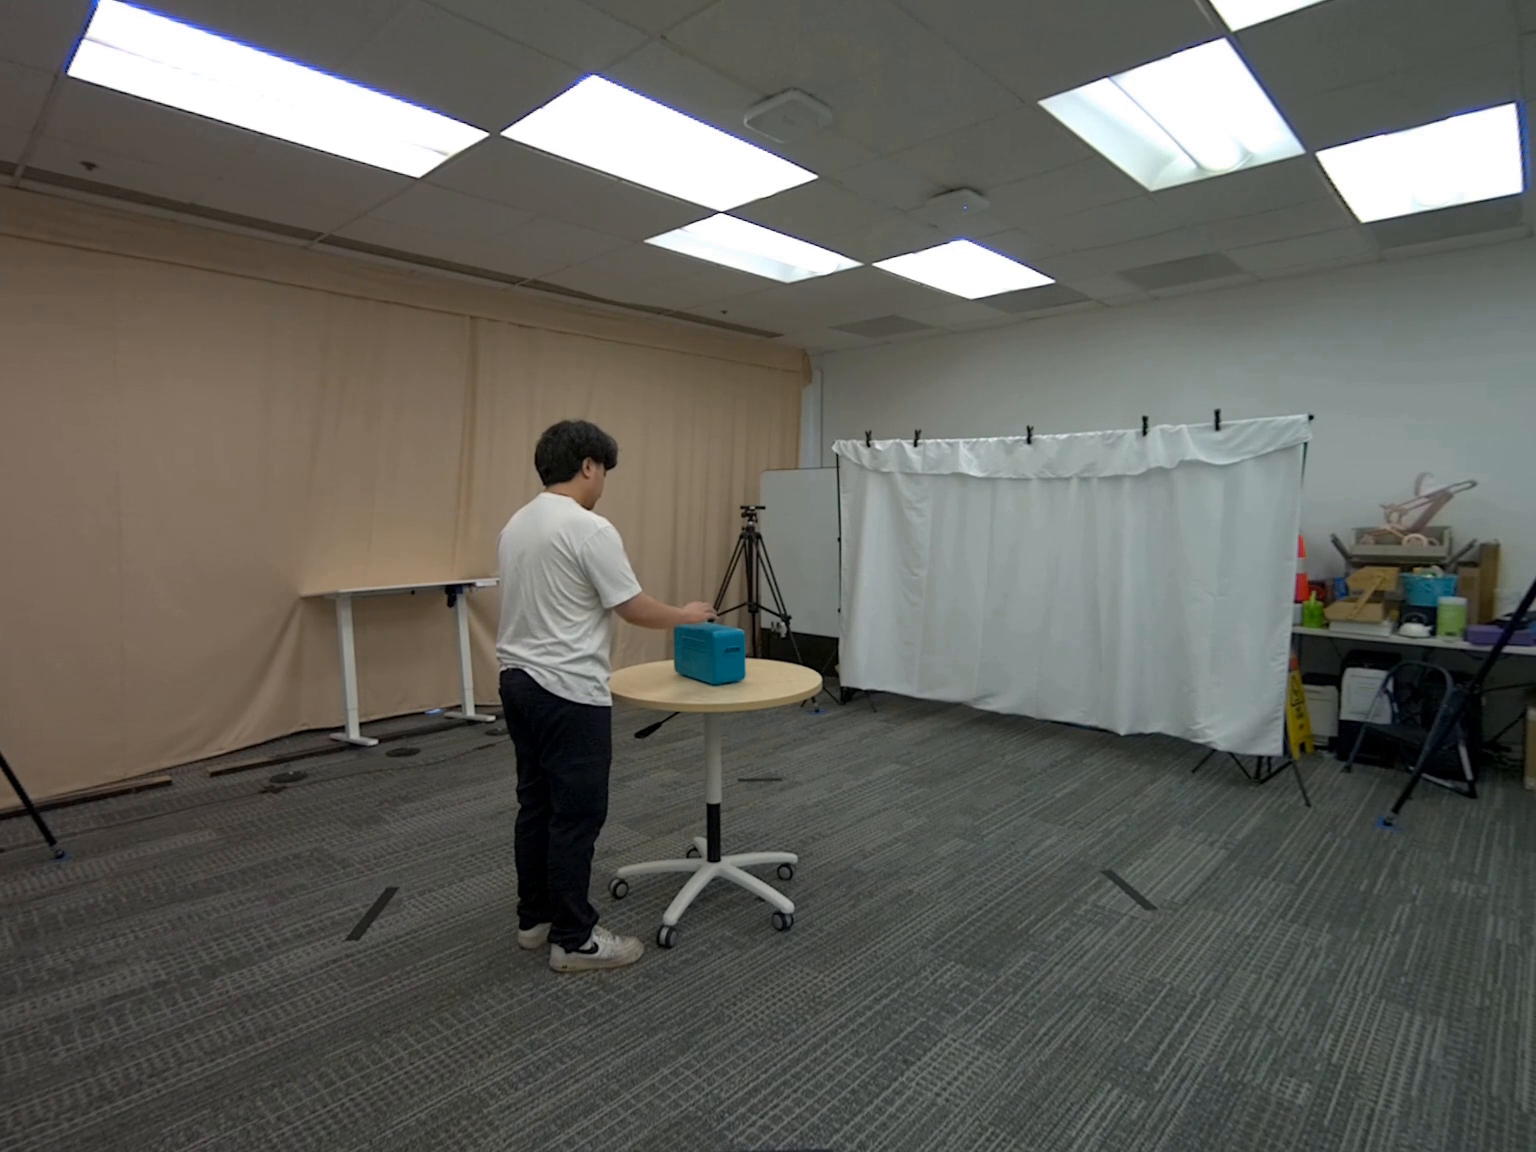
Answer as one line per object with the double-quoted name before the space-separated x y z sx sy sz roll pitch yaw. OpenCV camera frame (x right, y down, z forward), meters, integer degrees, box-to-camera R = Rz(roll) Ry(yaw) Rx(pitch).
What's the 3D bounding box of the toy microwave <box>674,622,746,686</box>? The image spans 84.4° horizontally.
"toy microwave" -0.199 0.263 2.936 0.148 0.184 0.295 -3 4 -34
